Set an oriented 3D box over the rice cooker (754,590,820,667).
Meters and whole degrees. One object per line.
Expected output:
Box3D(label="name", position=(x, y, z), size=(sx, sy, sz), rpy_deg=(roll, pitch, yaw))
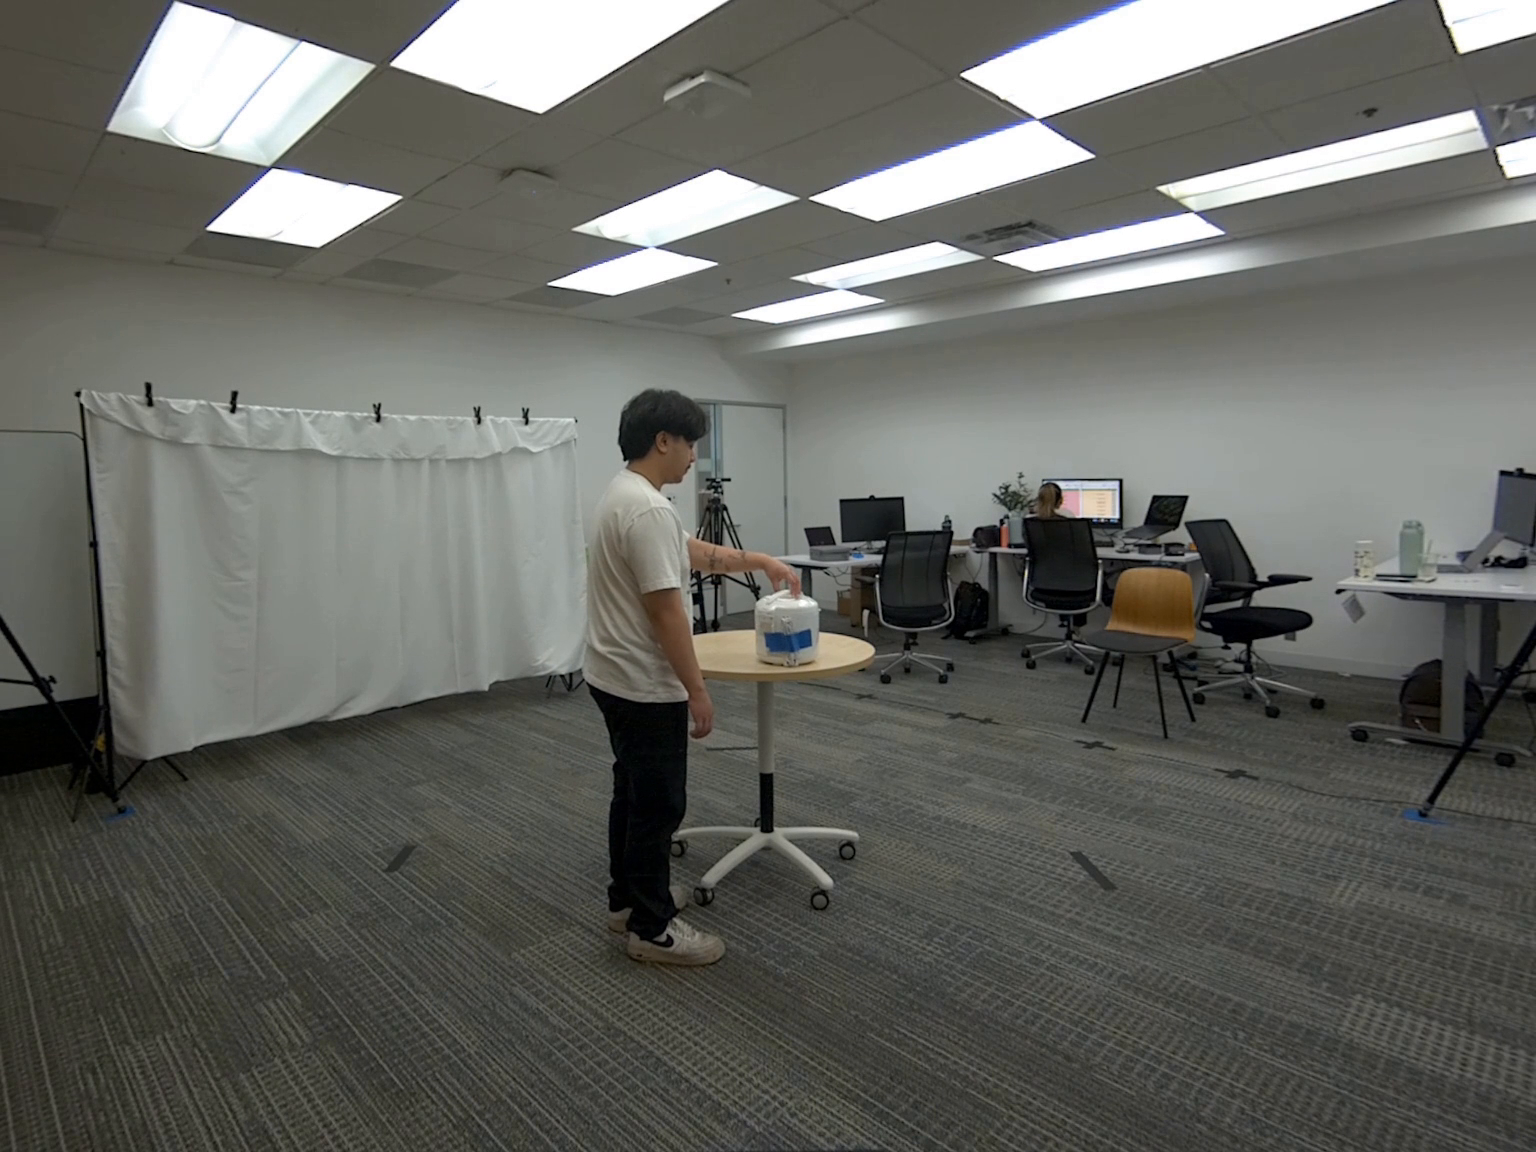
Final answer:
Box3D(label="rice cooker", position=(0.063, 0.159, 2.792), size=(0.224, 0.232, 0.215), rpy_deg=(4, 6, 43))
